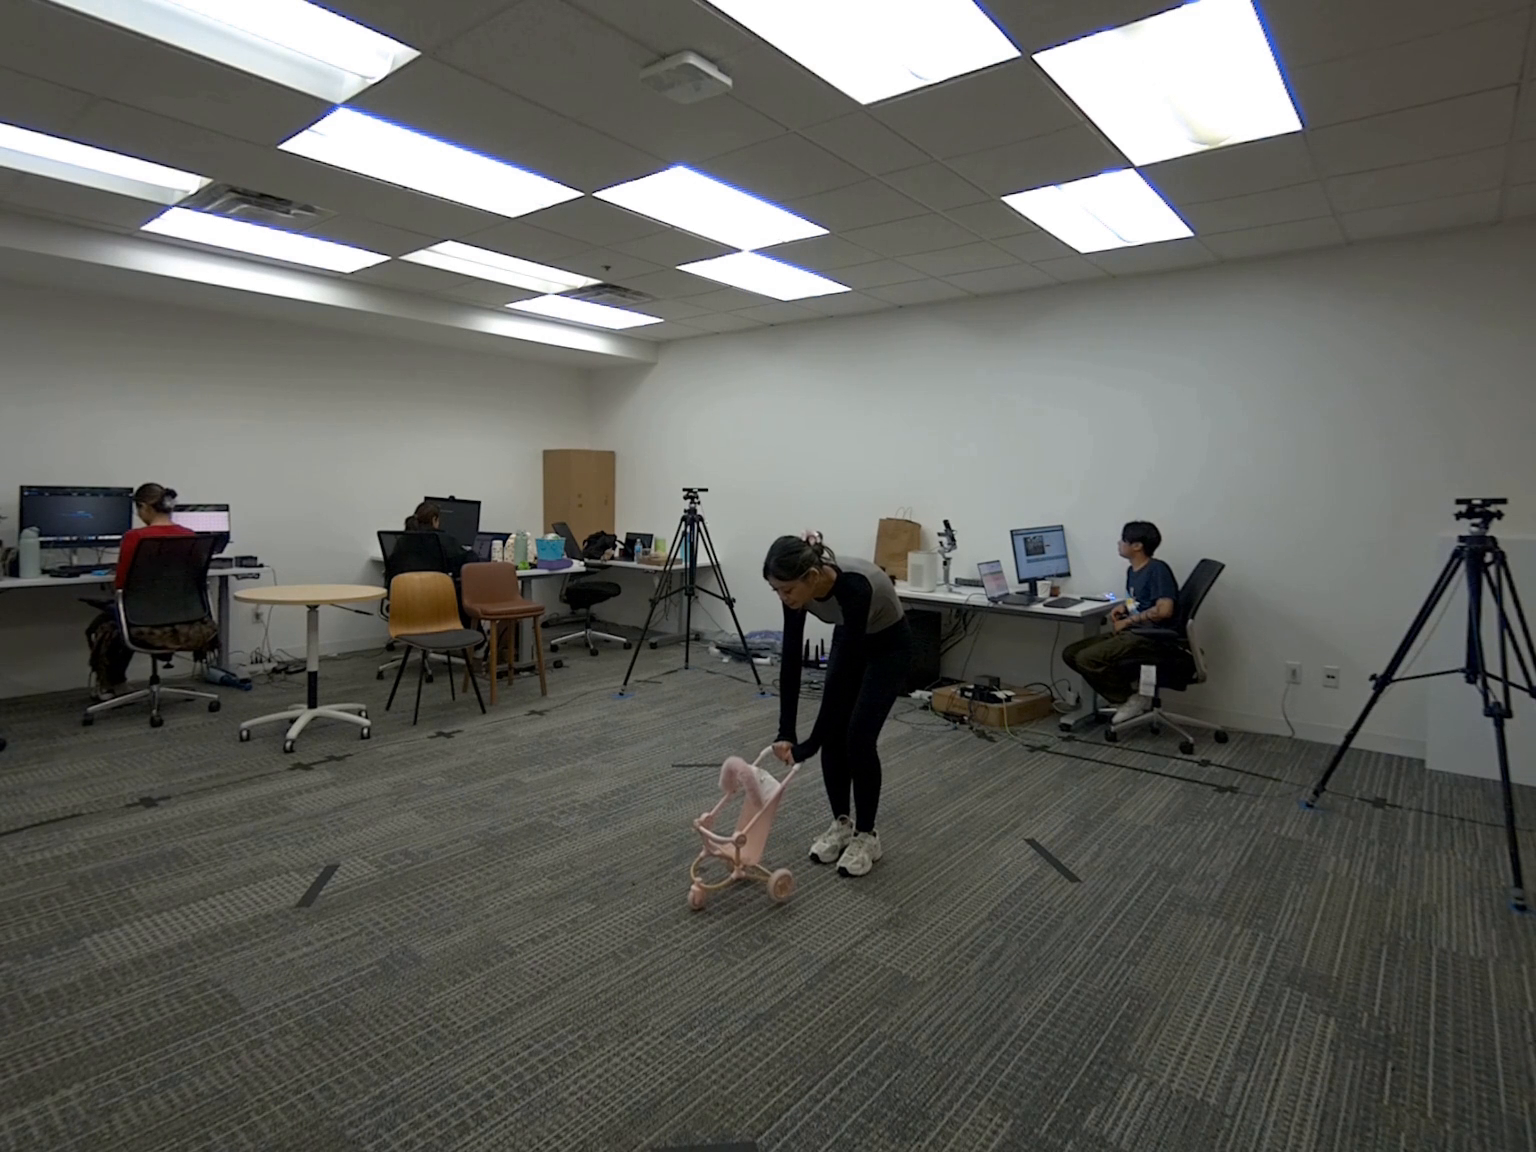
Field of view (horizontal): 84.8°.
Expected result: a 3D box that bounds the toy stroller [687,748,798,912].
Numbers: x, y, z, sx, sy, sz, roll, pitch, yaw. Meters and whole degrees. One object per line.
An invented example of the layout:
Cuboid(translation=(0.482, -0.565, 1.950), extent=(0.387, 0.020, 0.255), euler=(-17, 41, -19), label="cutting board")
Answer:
Cuboid(translation=(-0.107, 0.850, 2.889), extent=(0.330, 0.536, 0.290), euler=(11, -2, -33), label="toy stroller")
